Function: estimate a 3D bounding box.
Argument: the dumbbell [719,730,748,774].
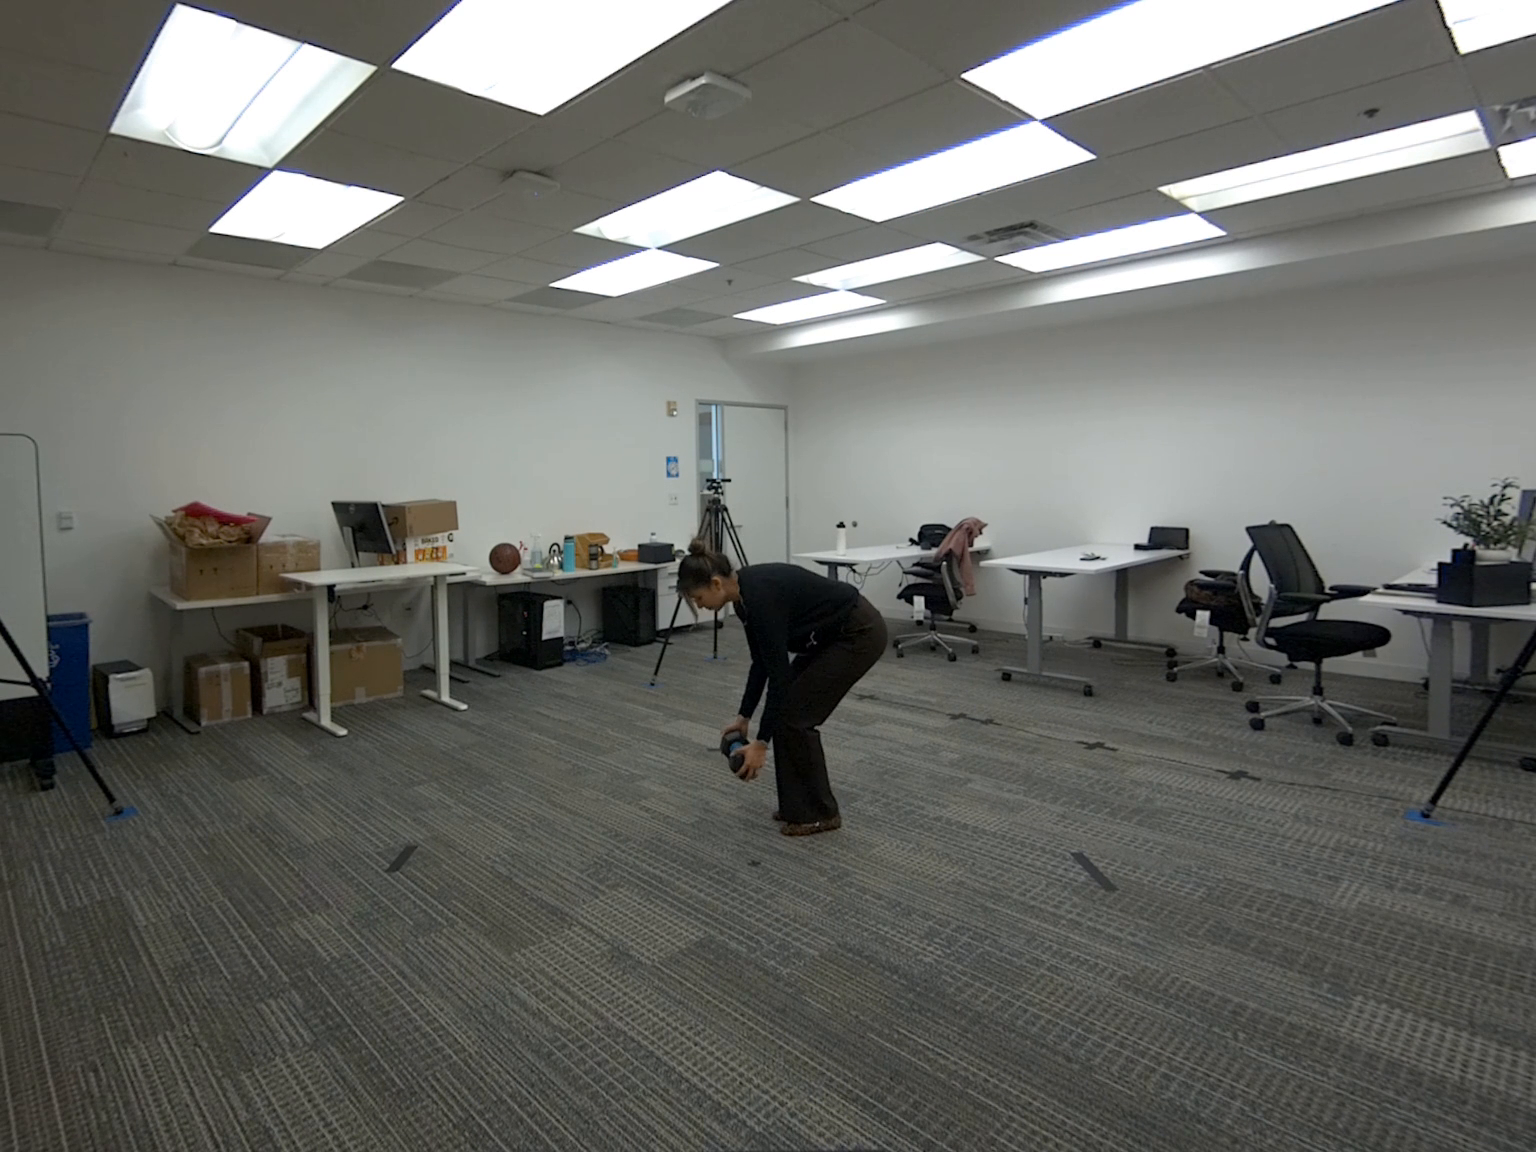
[{"bbox_3d":[-0.104,0.712,3.403,0.108,0.123,0.296,8,3,-7],"label":"dumbbell"}]
